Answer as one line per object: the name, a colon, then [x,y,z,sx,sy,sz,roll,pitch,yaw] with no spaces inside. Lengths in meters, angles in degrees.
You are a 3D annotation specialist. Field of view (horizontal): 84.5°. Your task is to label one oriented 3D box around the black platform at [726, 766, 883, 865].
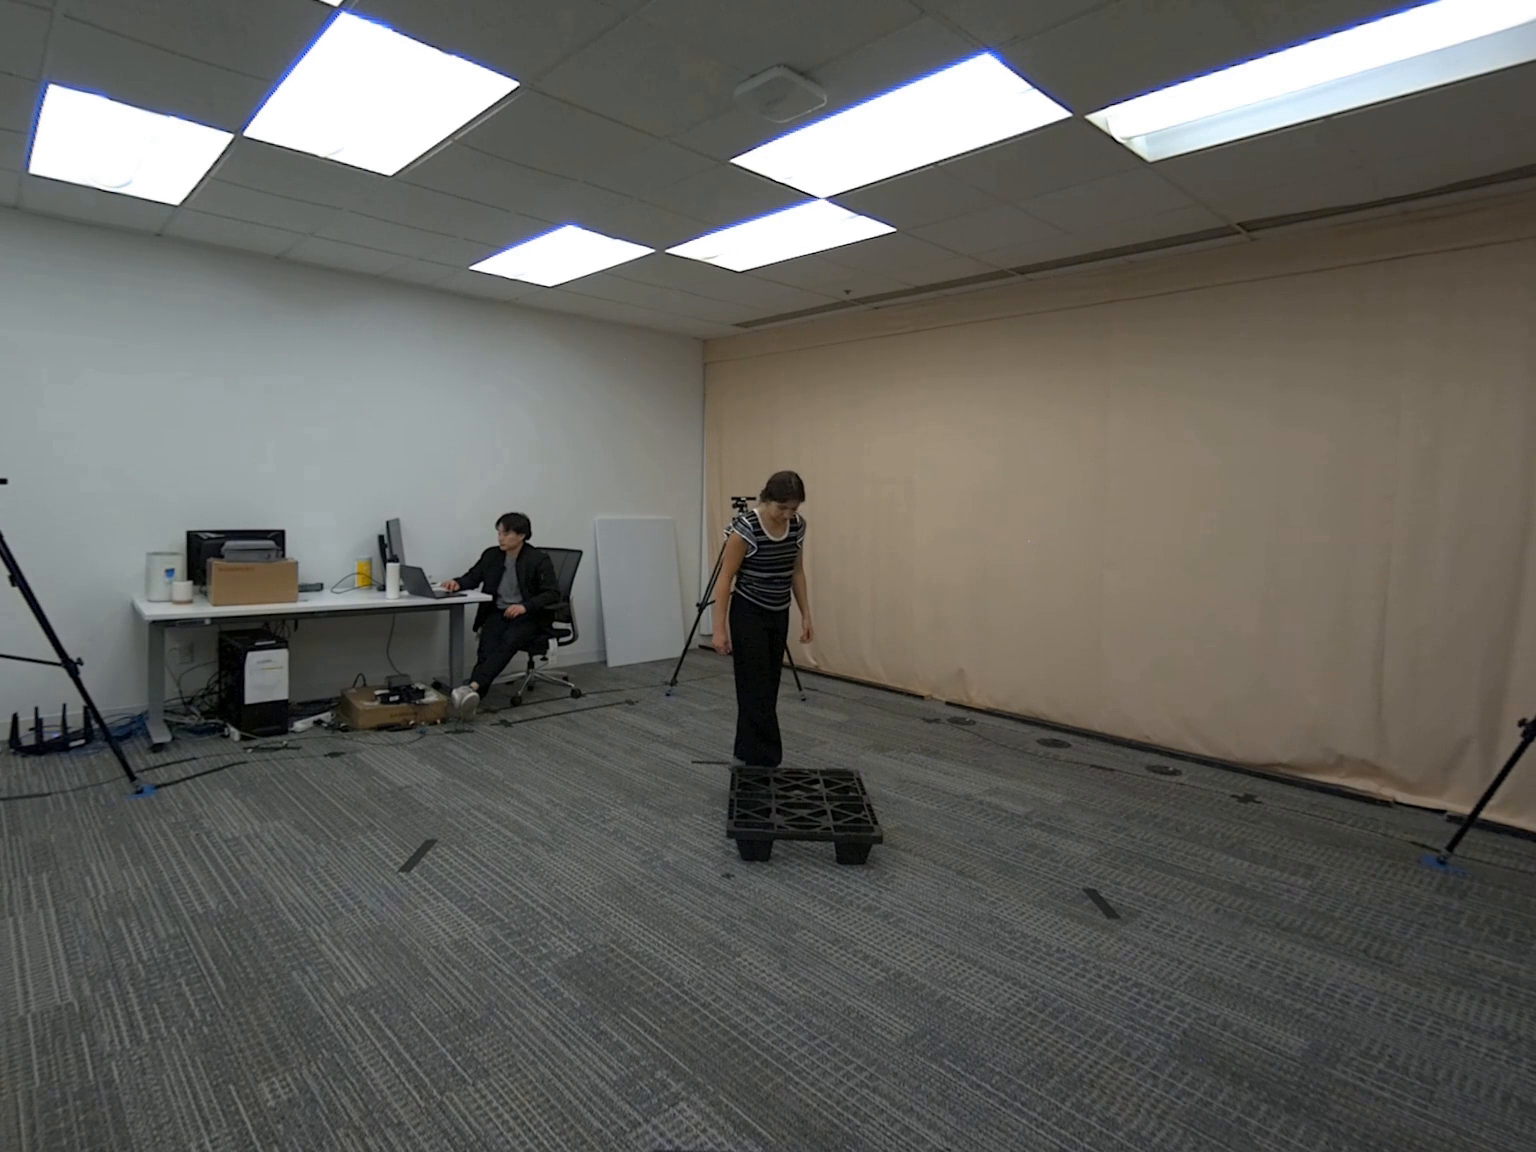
black platform: [0.126,1.004,3.588,0.605,0.143,0.808,3,5,0]
